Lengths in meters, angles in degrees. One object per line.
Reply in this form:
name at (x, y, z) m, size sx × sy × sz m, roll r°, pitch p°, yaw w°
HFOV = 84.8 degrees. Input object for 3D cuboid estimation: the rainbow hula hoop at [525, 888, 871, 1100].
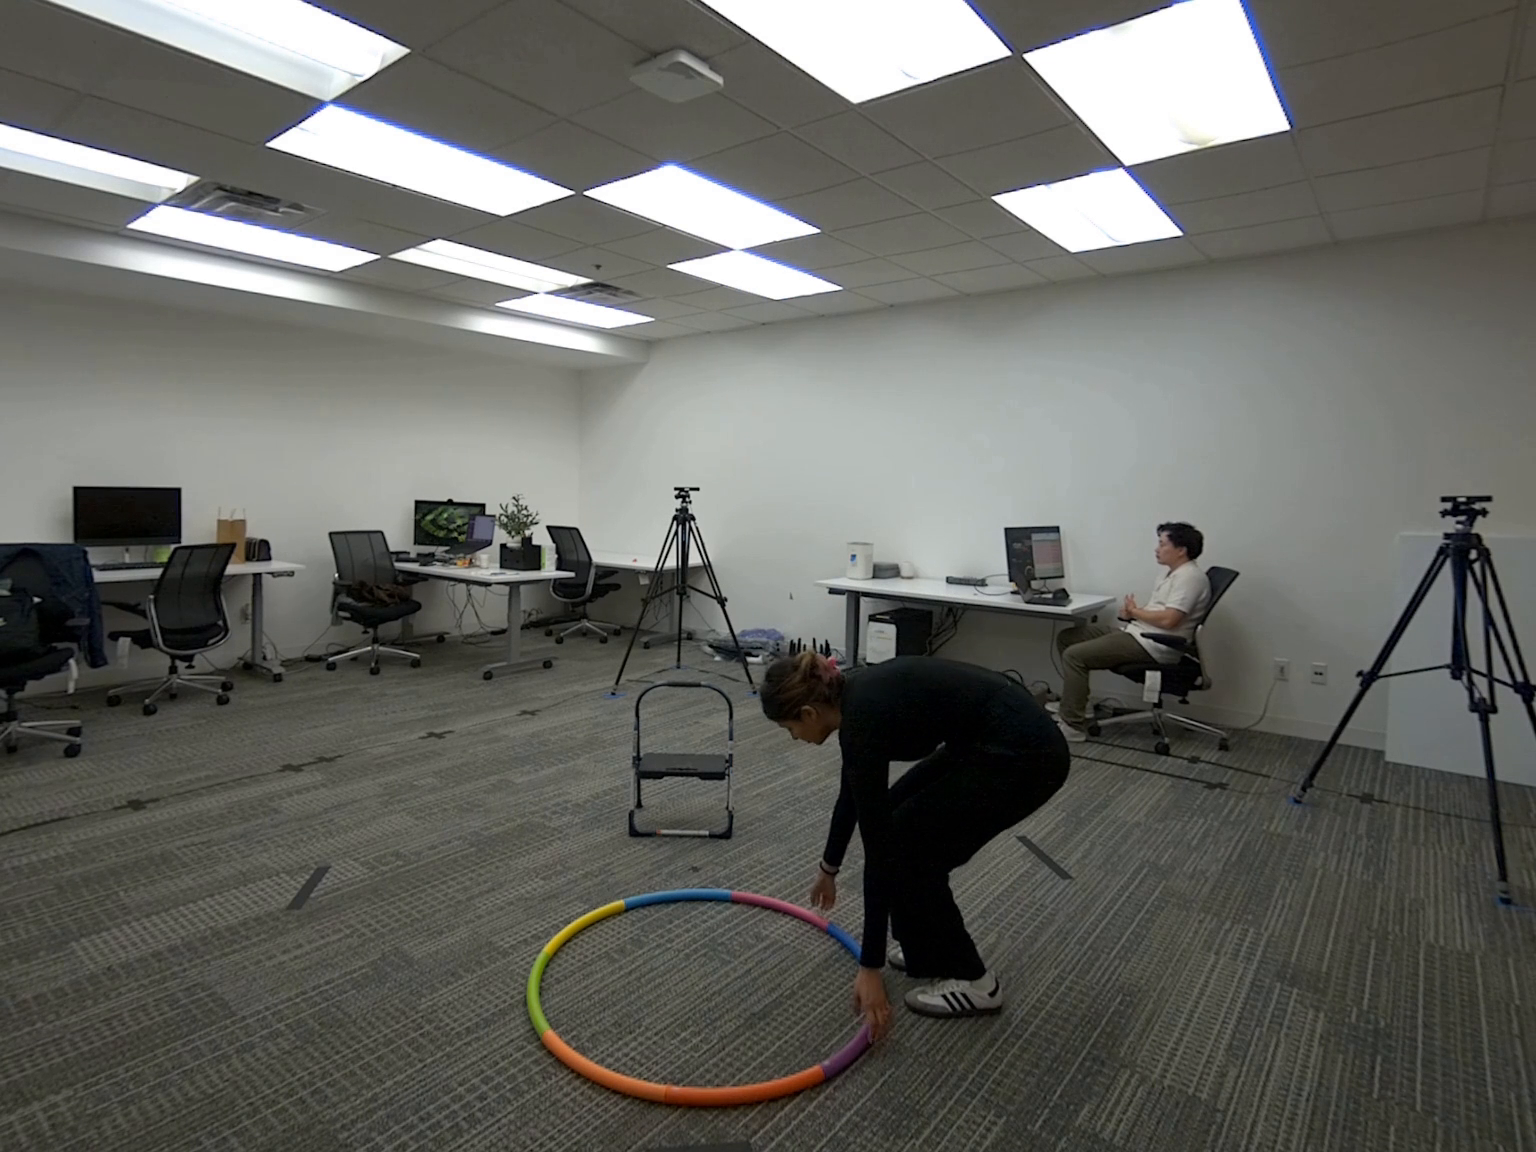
rainbow hula hoop at (-0.178, 1.101, 2.400) m, size 0.978 × 0.035 × 0.984 m, roll 1°, pitch 6°, yaw -2°
